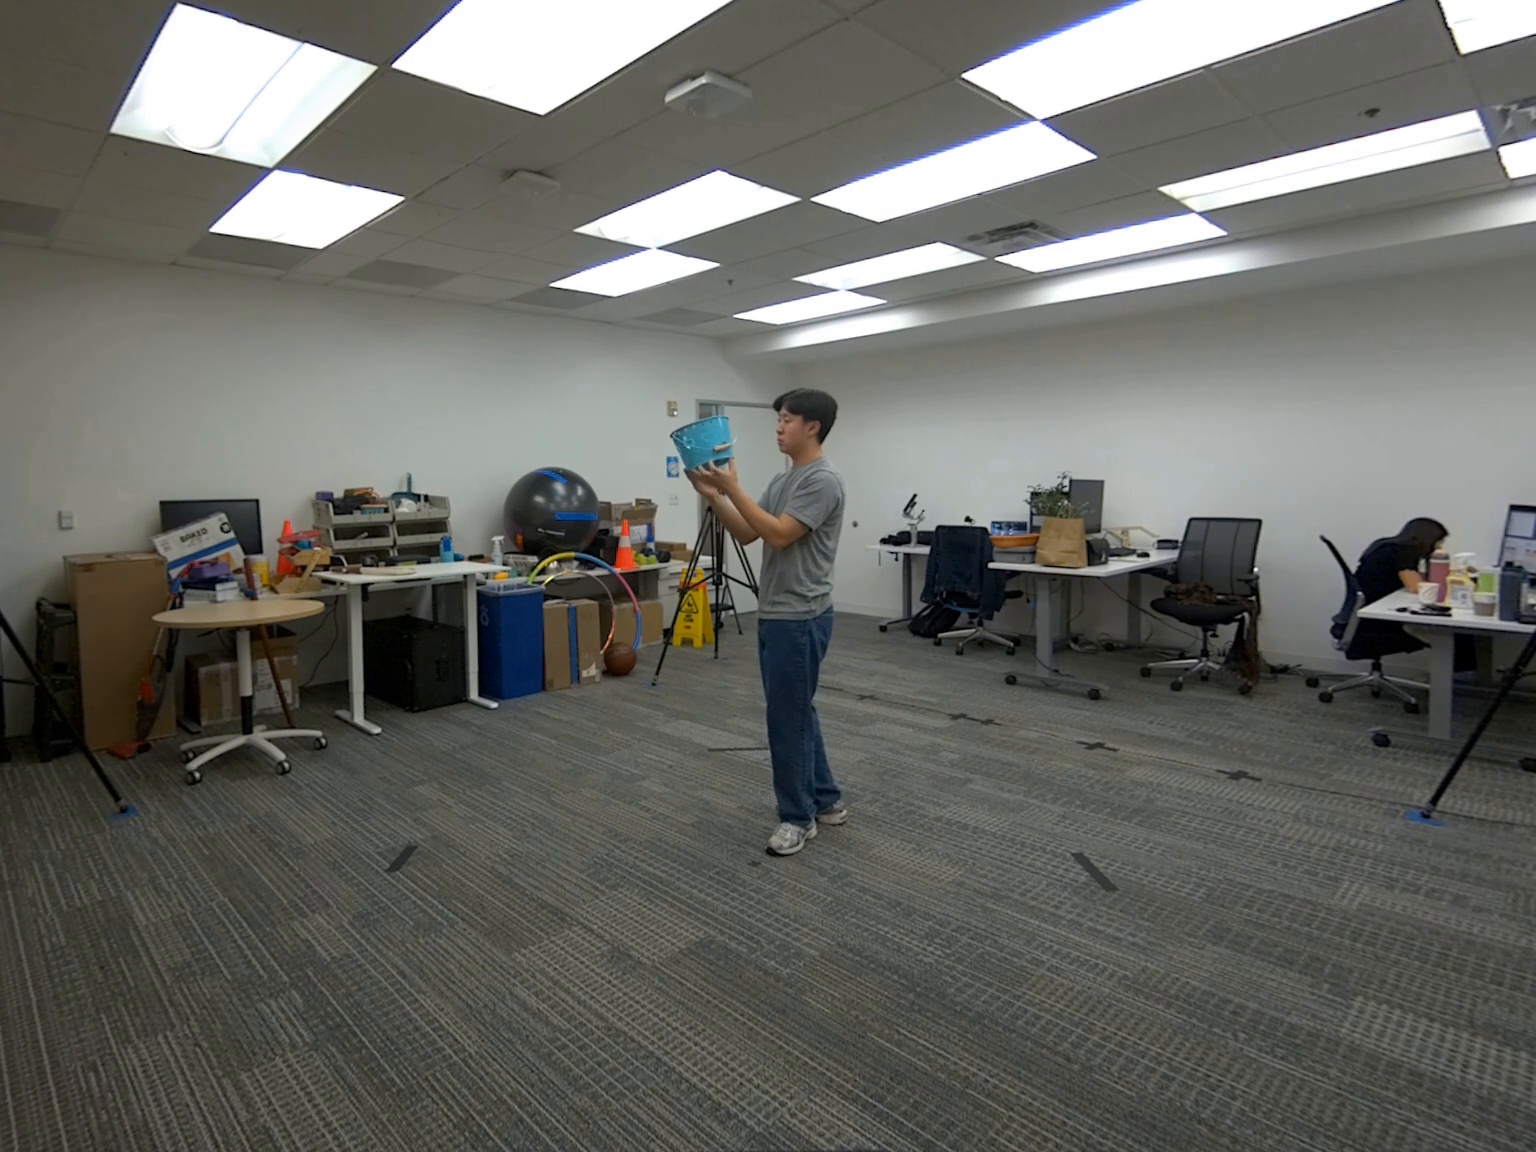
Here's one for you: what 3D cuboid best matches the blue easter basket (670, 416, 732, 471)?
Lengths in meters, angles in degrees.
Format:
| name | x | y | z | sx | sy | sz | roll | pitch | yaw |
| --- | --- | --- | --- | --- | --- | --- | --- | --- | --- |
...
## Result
| name | x | y | z | sx | sy | sz | roll | pitch | yaw |
| --- | --- | --- | --- | --- | --- | --- | --- | --- | --- |
| blue easter basket | -0.237 | -0.484 | 3.197 | 0.243 | 0.157 | 0.243 | -19 | -3 | -3 |
